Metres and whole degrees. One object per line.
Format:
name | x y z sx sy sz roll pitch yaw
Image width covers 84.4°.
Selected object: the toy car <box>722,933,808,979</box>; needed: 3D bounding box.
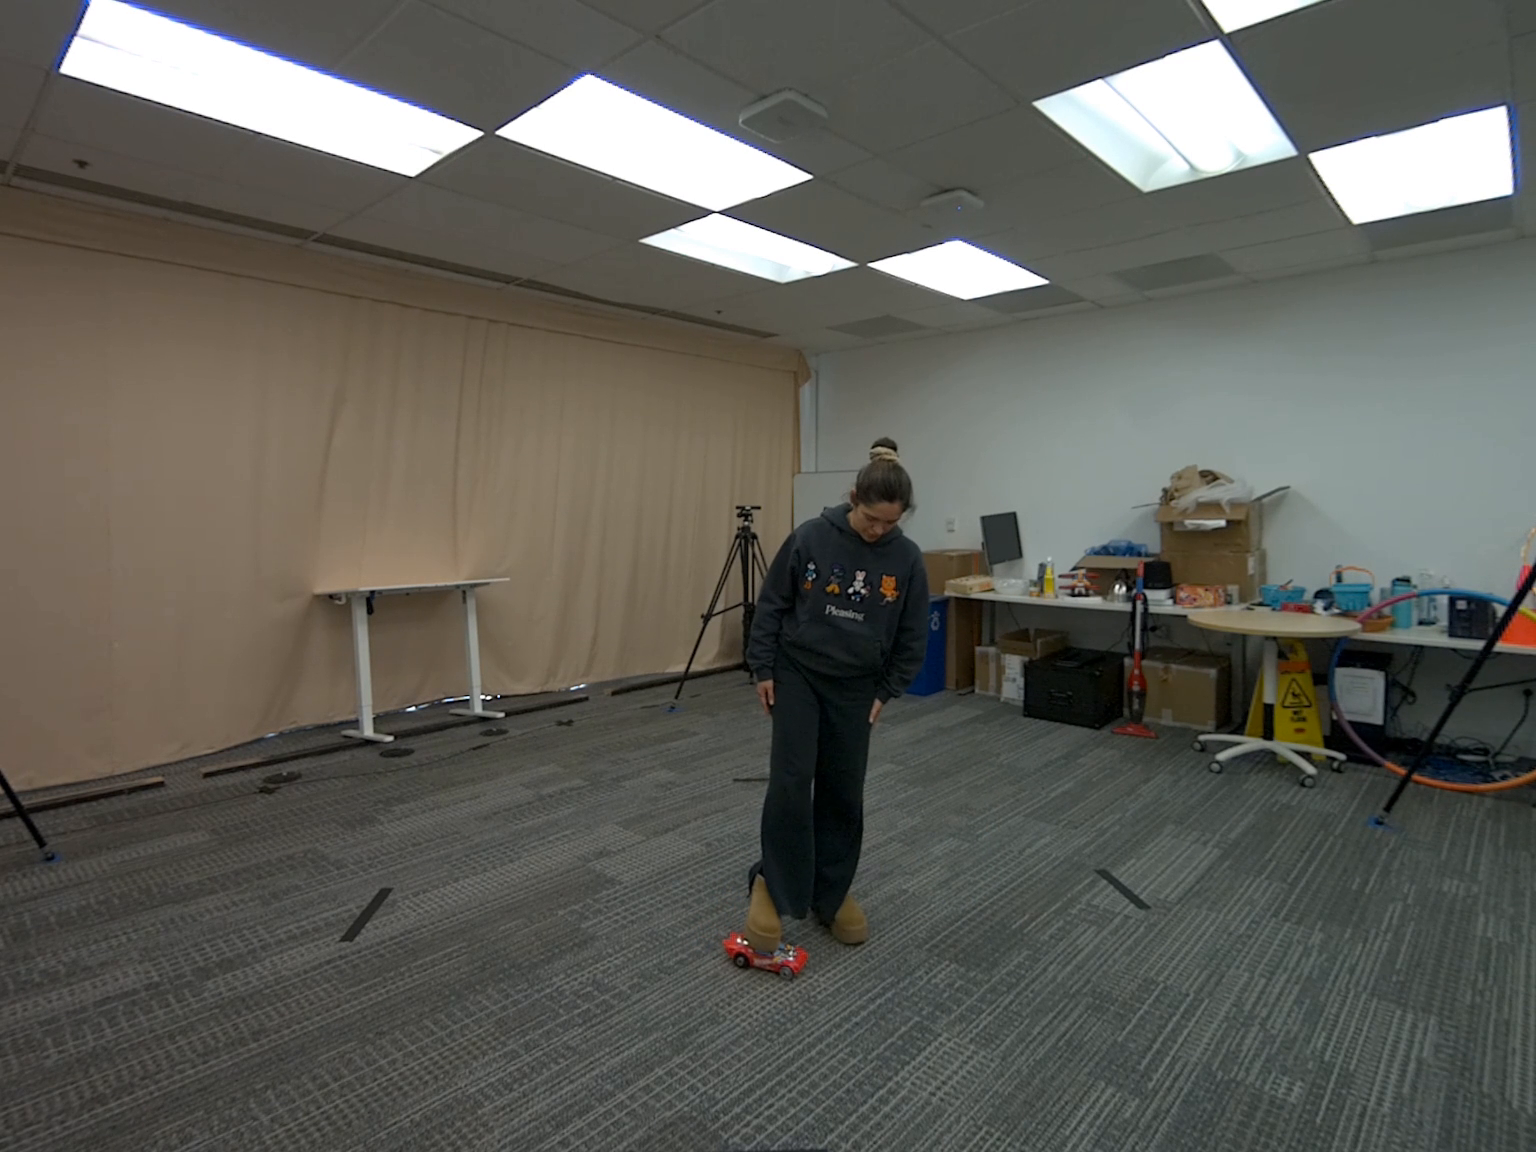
toy car | 0.008 1.150 2.557 0.261 0.083 0.127 12 8 23
